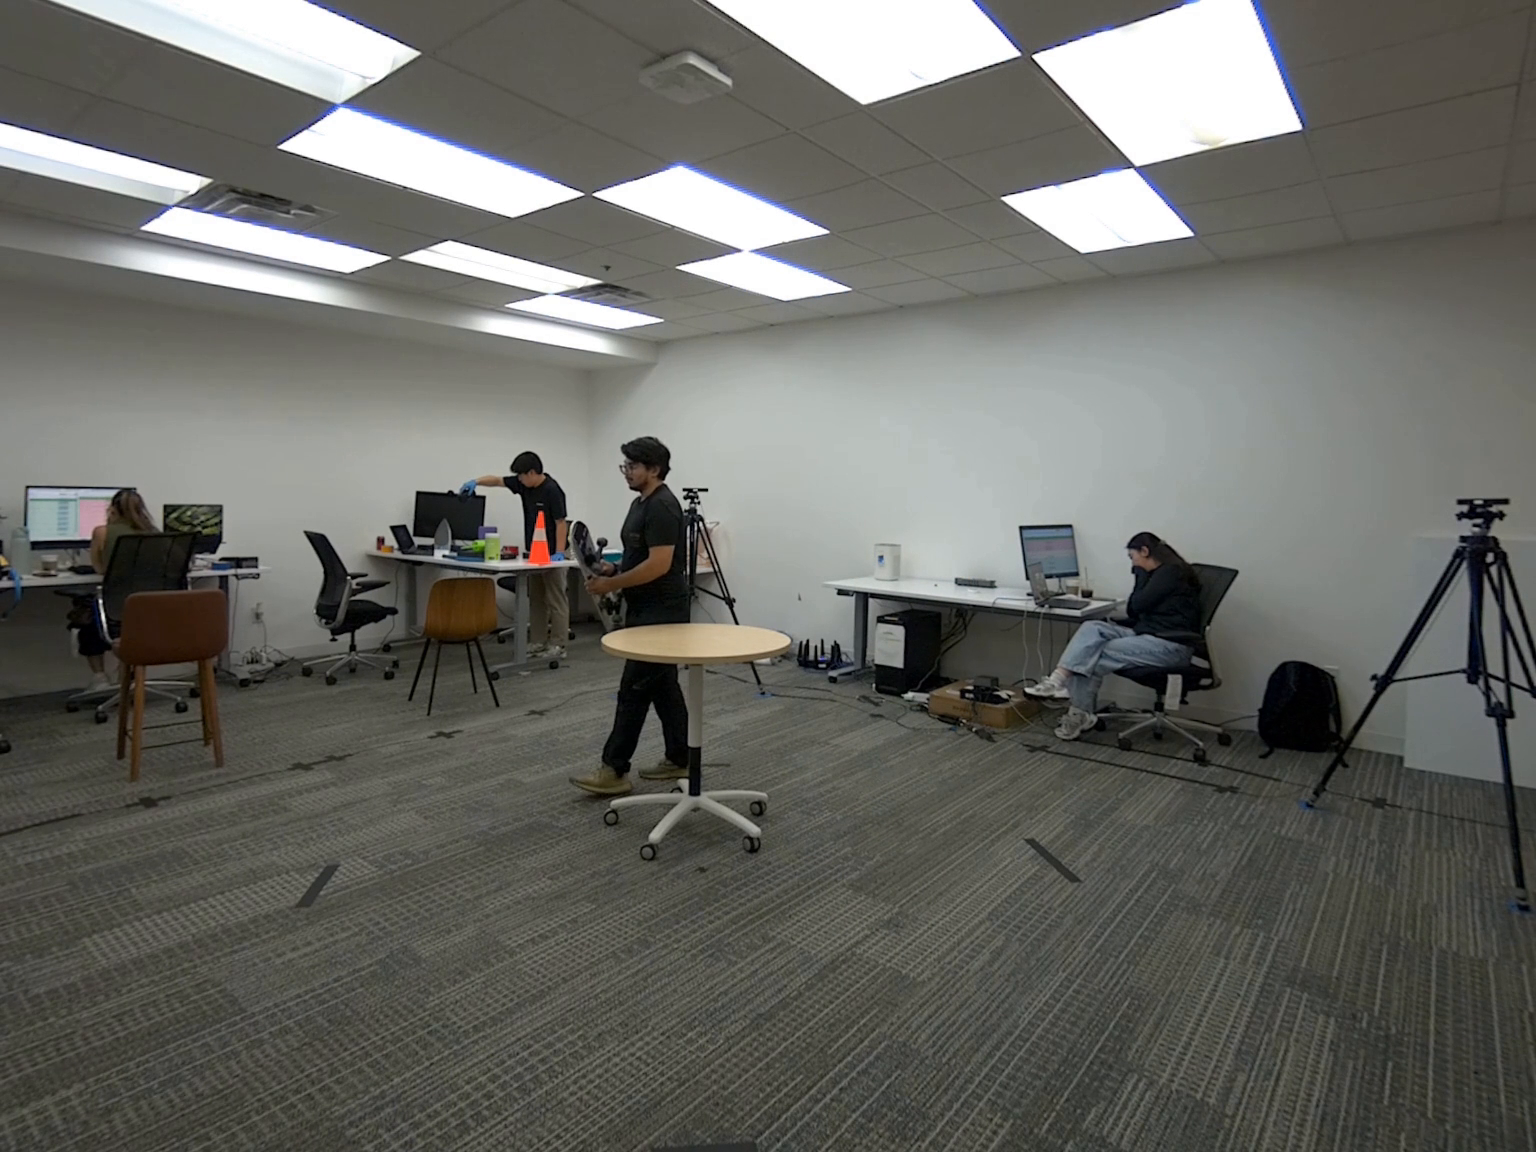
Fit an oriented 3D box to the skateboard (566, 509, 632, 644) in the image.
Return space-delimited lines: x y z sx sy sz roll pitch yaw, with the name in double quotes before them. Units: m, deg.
"skateboard" -0.784 0.019 3.983 0.111 0.198 0.759 0 -39 6
